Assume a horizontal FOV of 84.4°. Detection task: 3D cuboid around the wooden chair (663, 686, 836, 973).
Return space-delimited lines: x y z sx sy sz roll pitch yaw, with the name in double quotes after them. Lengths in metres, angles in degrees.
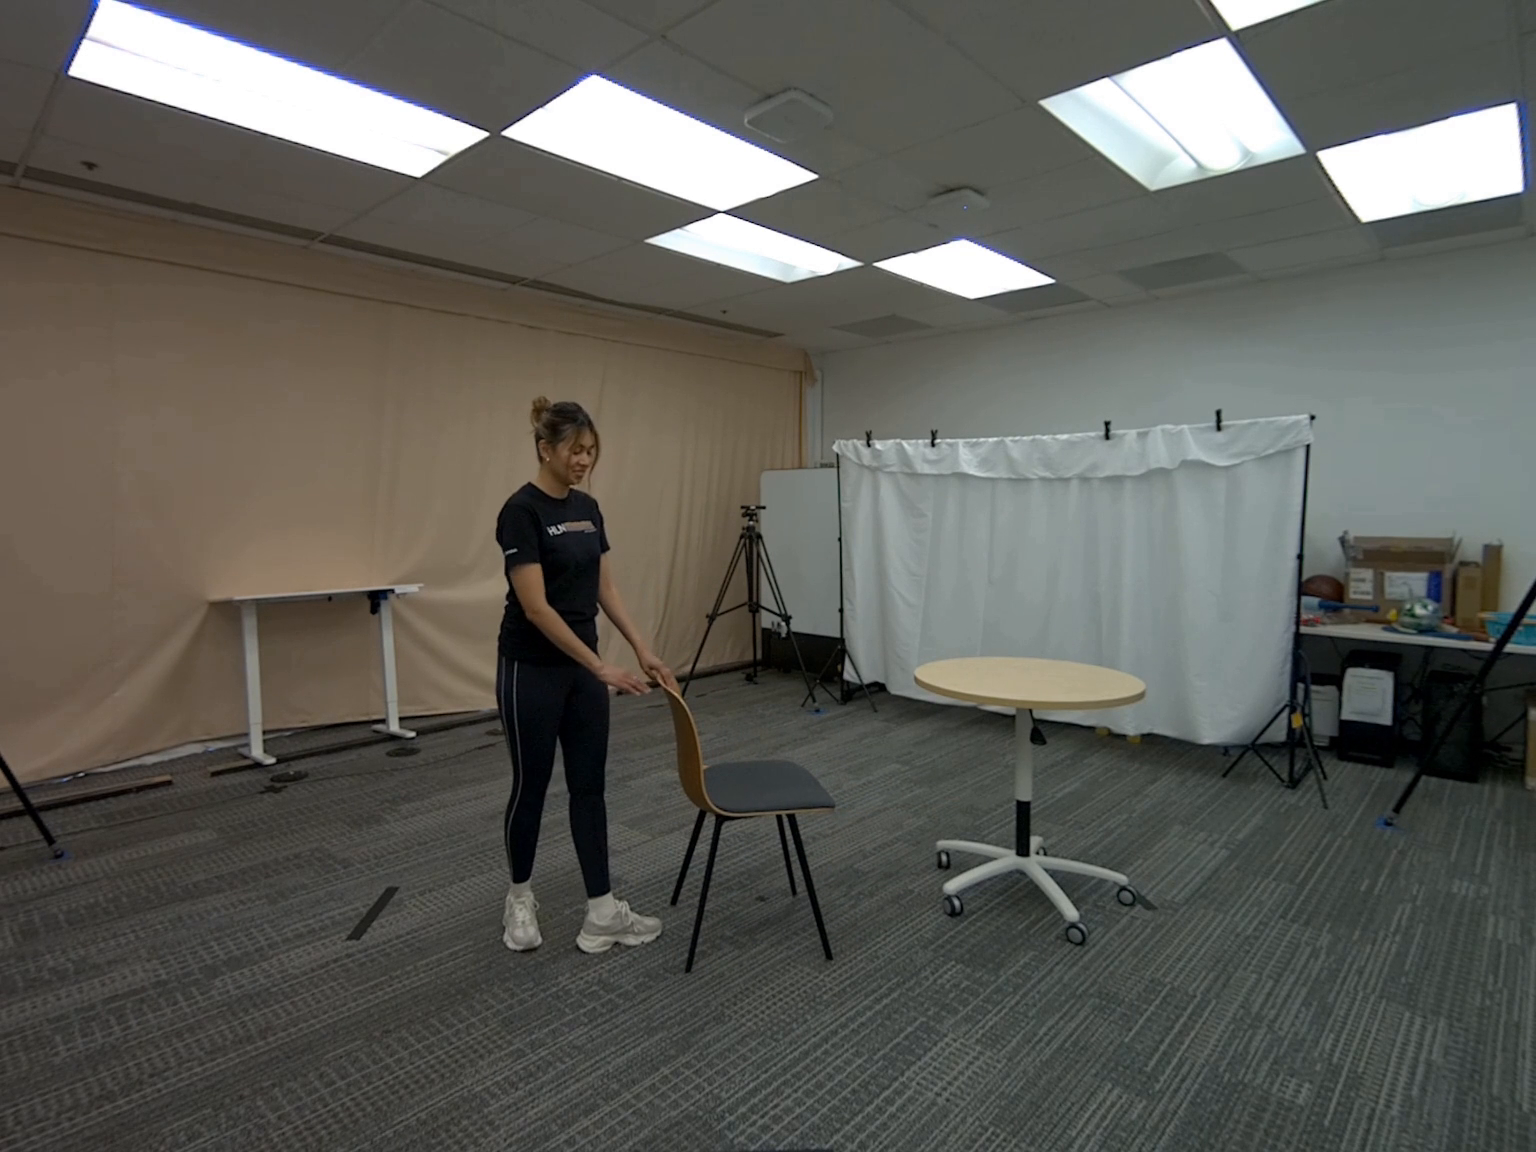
-0.060 0.740 2.738 0.517 0.876 0.484 -5 3 -11 "wooden chair"
